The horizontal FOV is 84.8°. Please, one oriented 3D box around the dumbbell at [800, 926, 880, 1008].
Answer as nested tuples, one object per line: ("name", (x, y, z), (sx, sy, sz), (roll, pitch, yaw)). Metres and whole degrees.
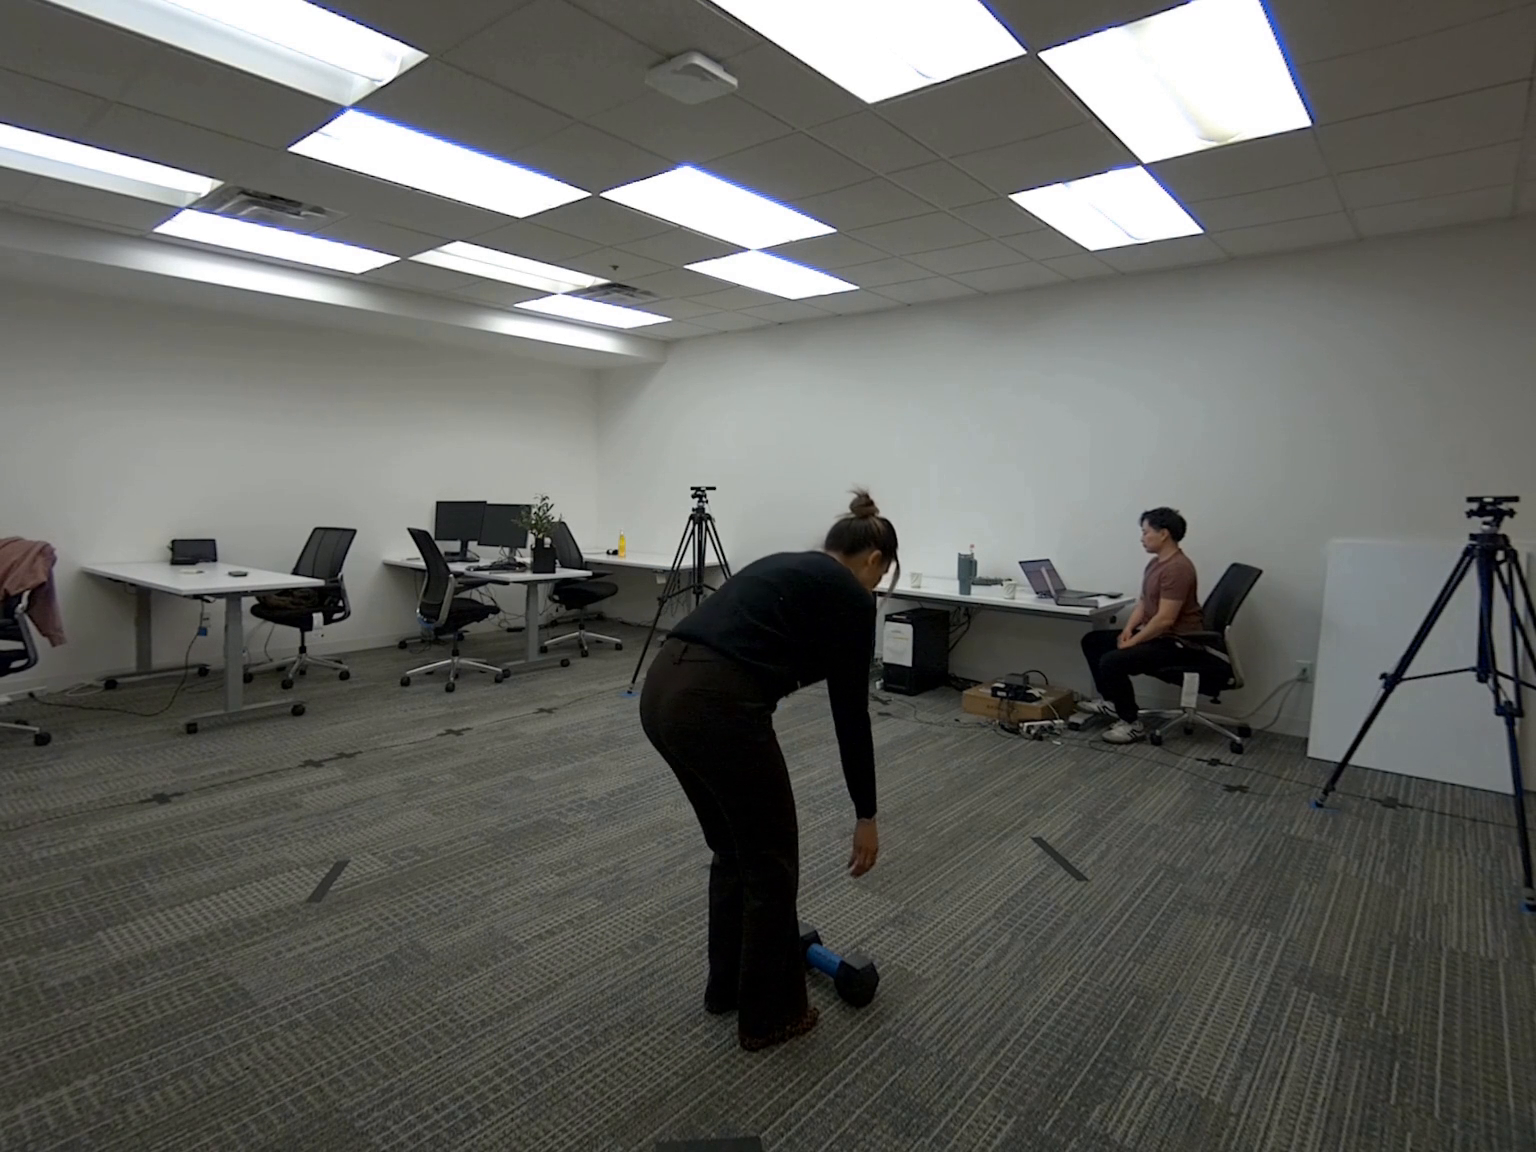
("dumbbell", (0.163, 1.087, 2.403), (0.304, 0.119, 0.108), (7, 38, 48))
